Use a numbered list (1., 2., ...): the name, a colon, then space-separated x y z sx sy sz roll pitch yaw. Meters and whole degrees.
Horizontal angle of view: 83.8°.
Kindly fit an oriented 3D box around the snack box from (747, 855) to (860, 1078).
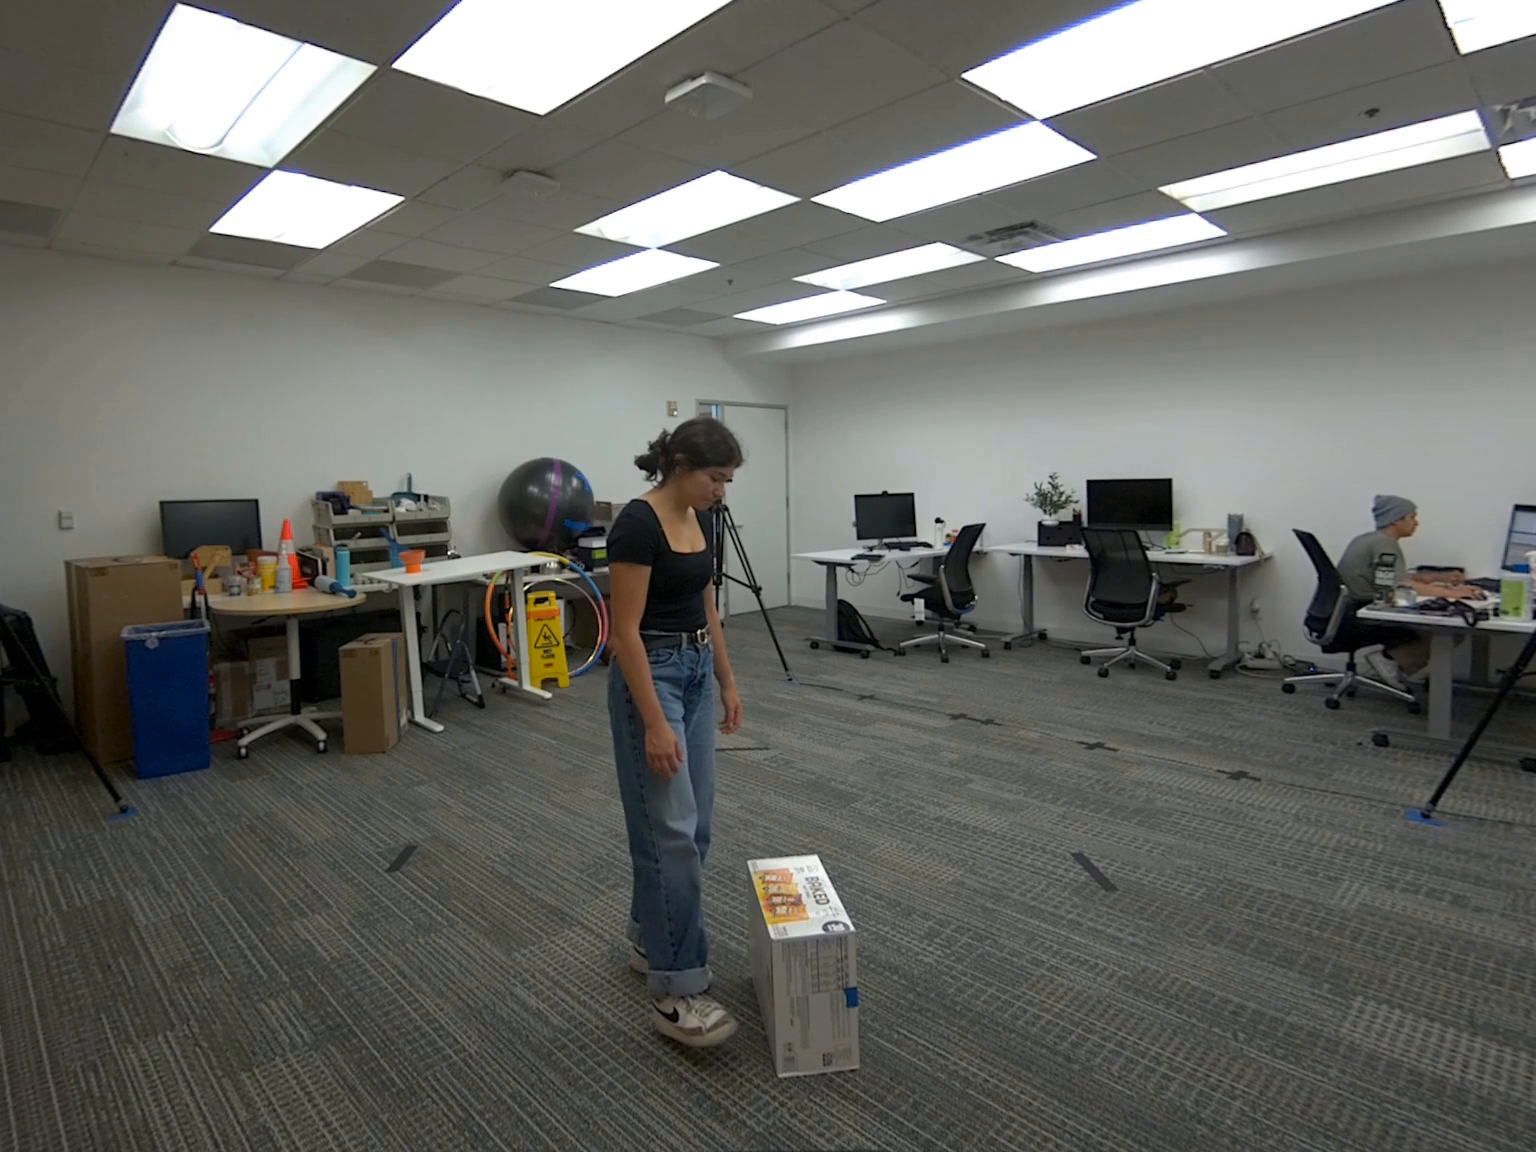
1. snack box: 0.079 0.976 2.198 0.204 0.339 0.410 -3 6 -9
